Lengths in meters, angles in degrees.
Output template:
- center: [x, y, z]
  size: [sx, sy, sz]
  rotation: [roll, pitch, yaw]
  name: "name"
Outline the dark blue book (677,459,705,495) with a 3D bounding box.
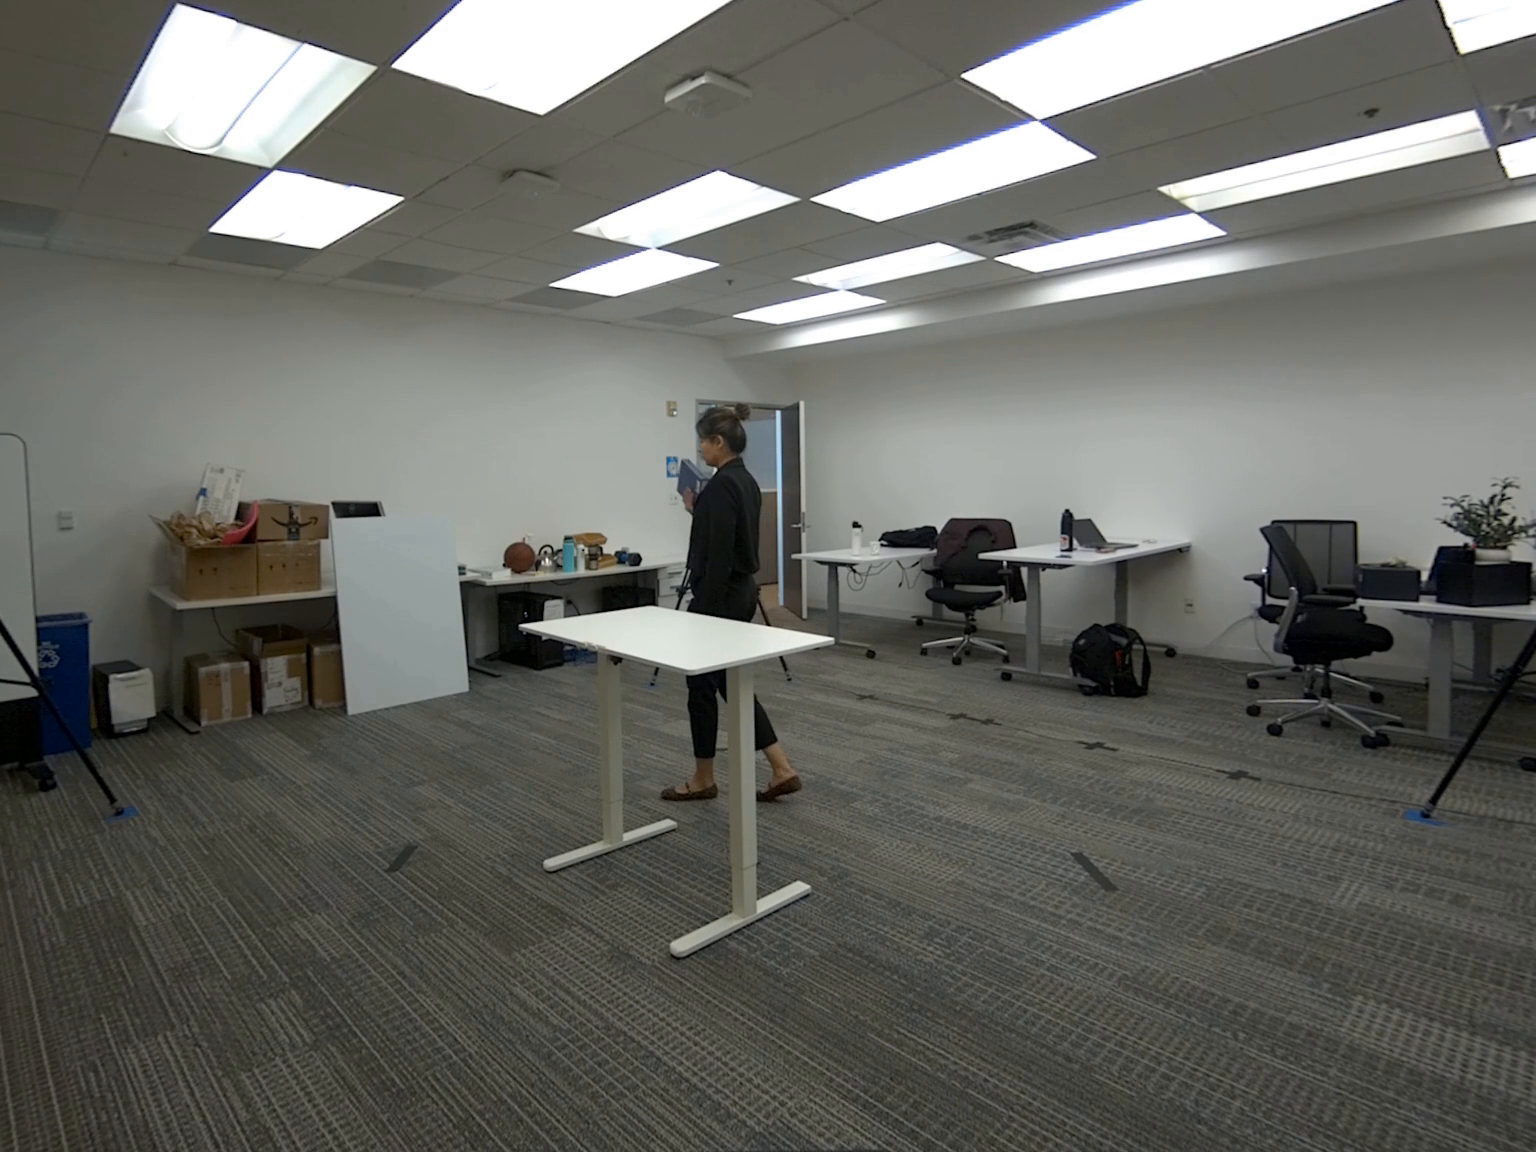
- center: [-0.341, -0.414, 3.903]
  size: [0.044, 0.160, 0.255]
  rotation: [-4, 29, -27]
  name: "dark blue book"
